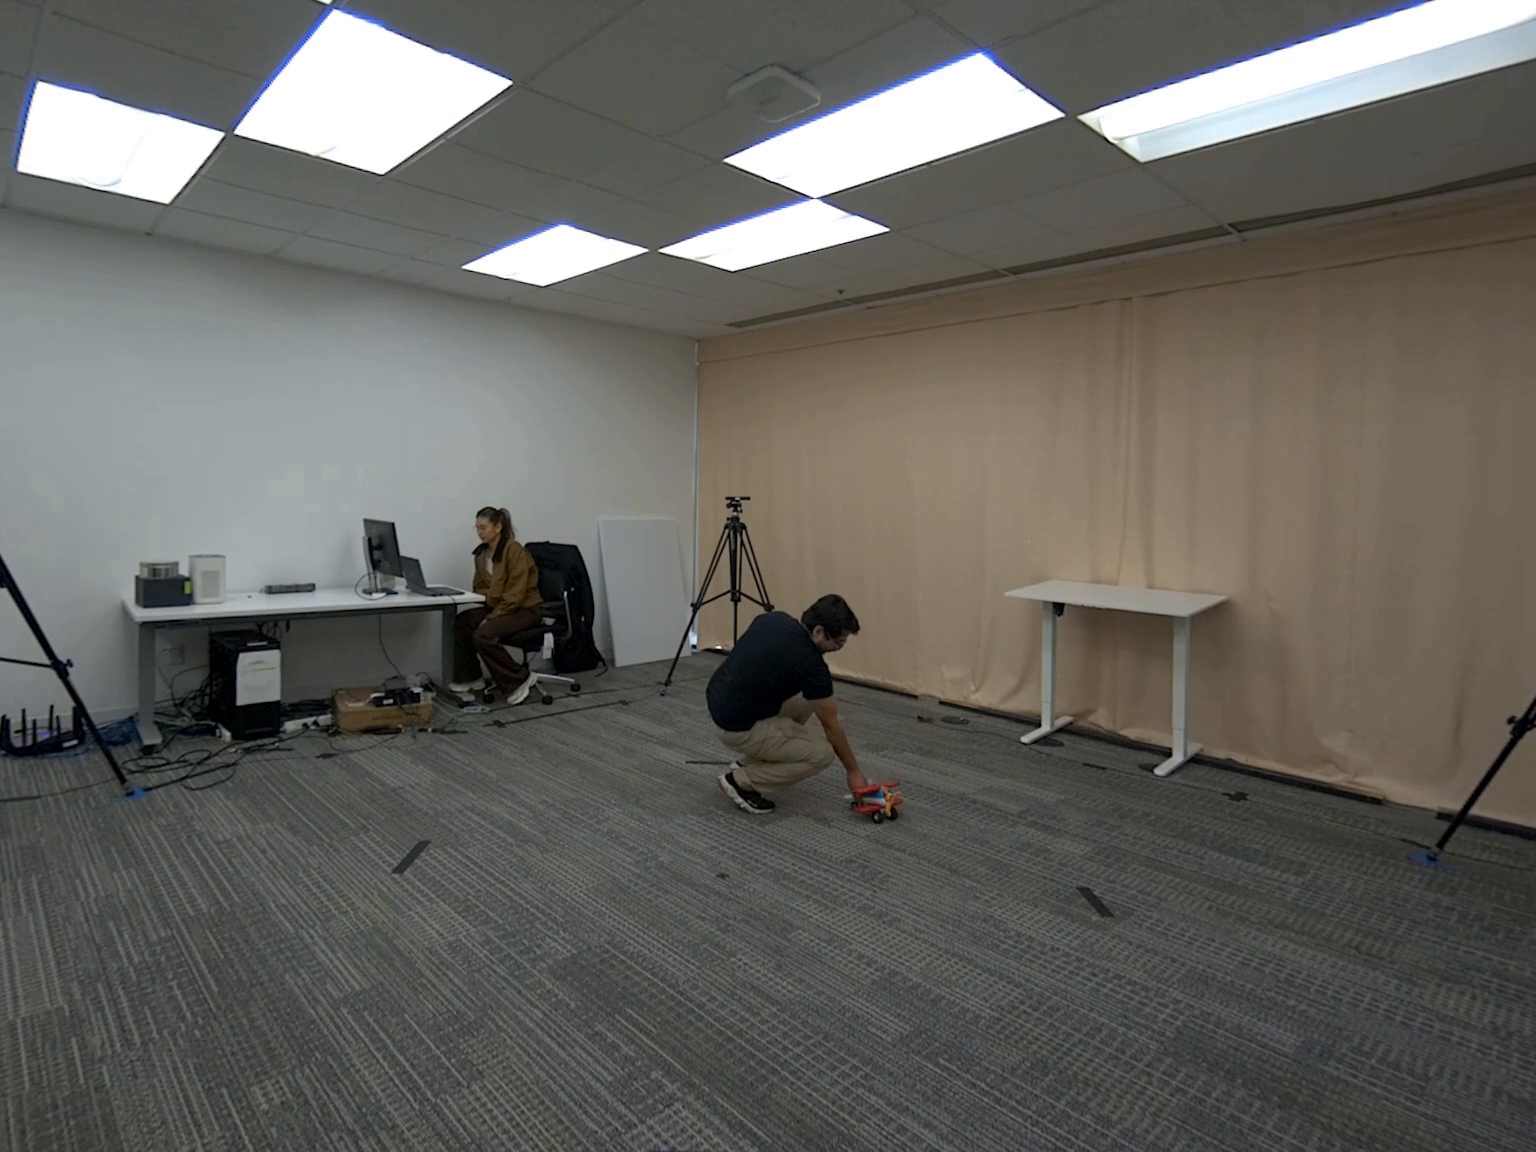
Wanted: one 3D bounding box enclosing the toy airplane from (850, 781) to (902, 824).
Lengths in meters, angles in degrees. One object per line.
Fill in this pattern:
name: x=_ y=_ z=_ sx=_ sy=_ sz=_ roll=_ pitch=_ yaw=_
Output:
toy airplane: x=0.439 y=0.991 z=3.739 sx=0.264 sy=0.156 sz=0.246 roll=4 pitch=4 yaw=27
